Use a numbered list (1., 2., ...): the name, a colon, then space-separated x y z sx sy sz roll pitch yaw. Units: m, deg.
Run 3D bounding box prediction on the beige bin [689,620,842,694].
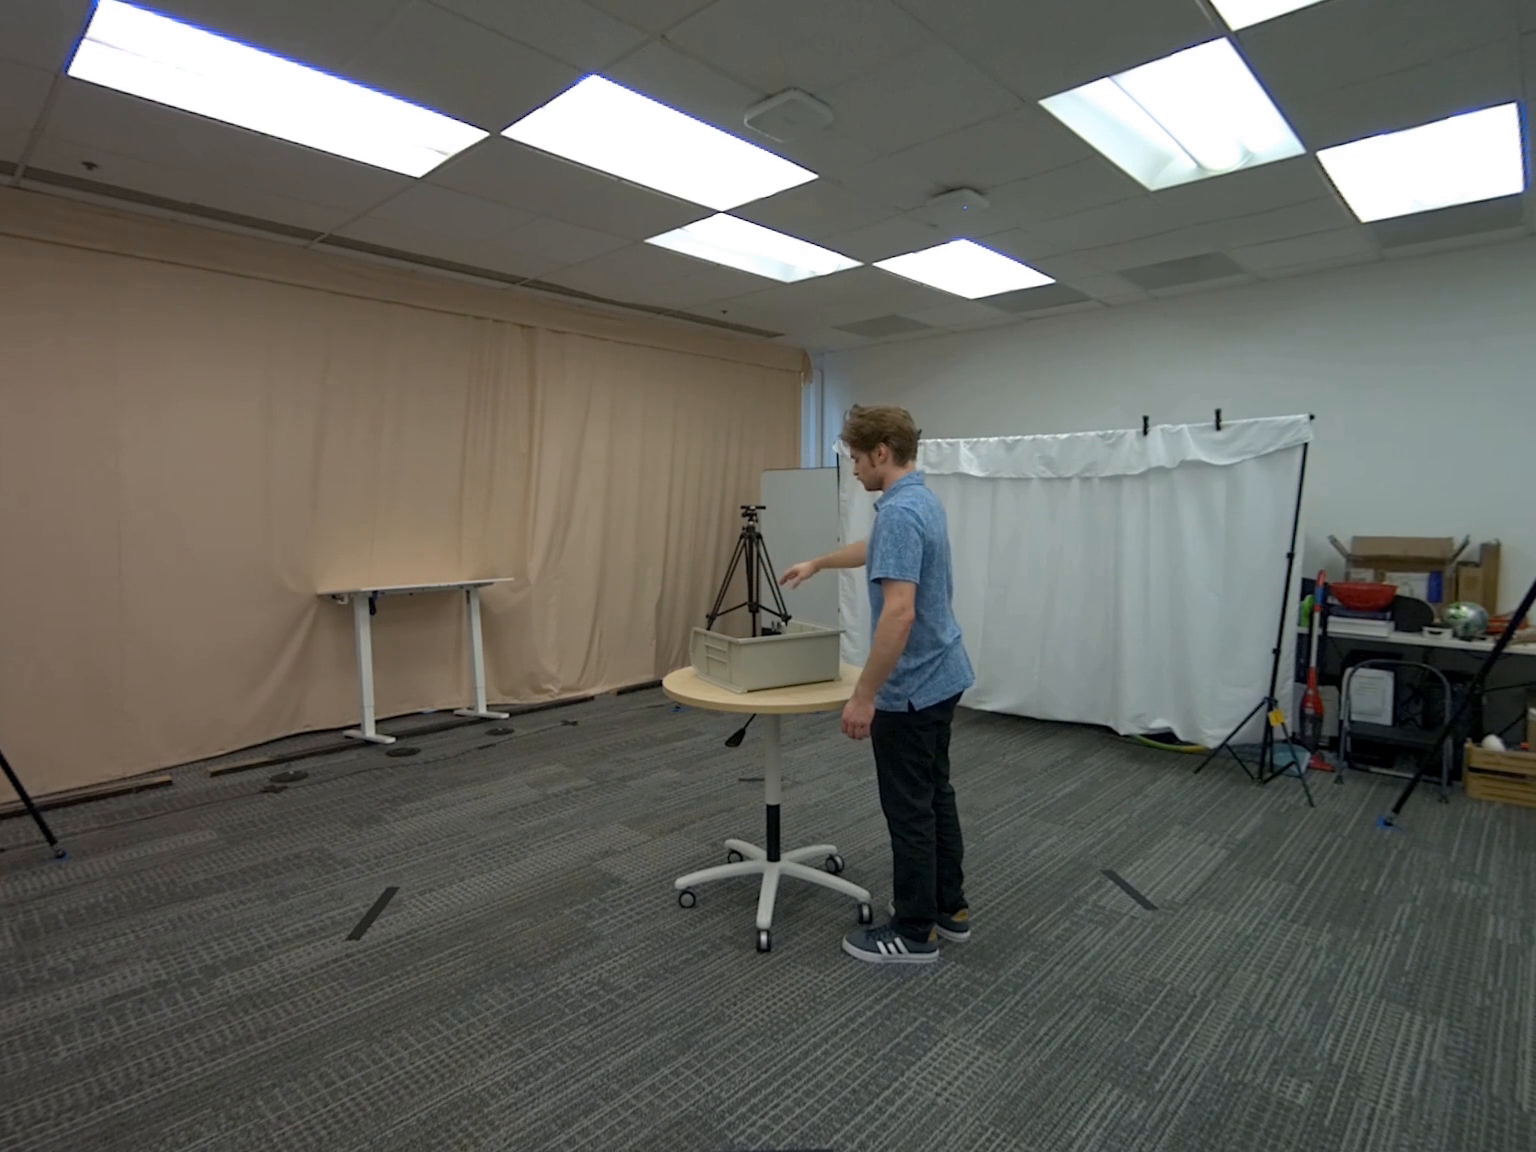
1. beige bin: -0.004 0.268 2.948 0.412 0.188 0.388 -3 6 -28
